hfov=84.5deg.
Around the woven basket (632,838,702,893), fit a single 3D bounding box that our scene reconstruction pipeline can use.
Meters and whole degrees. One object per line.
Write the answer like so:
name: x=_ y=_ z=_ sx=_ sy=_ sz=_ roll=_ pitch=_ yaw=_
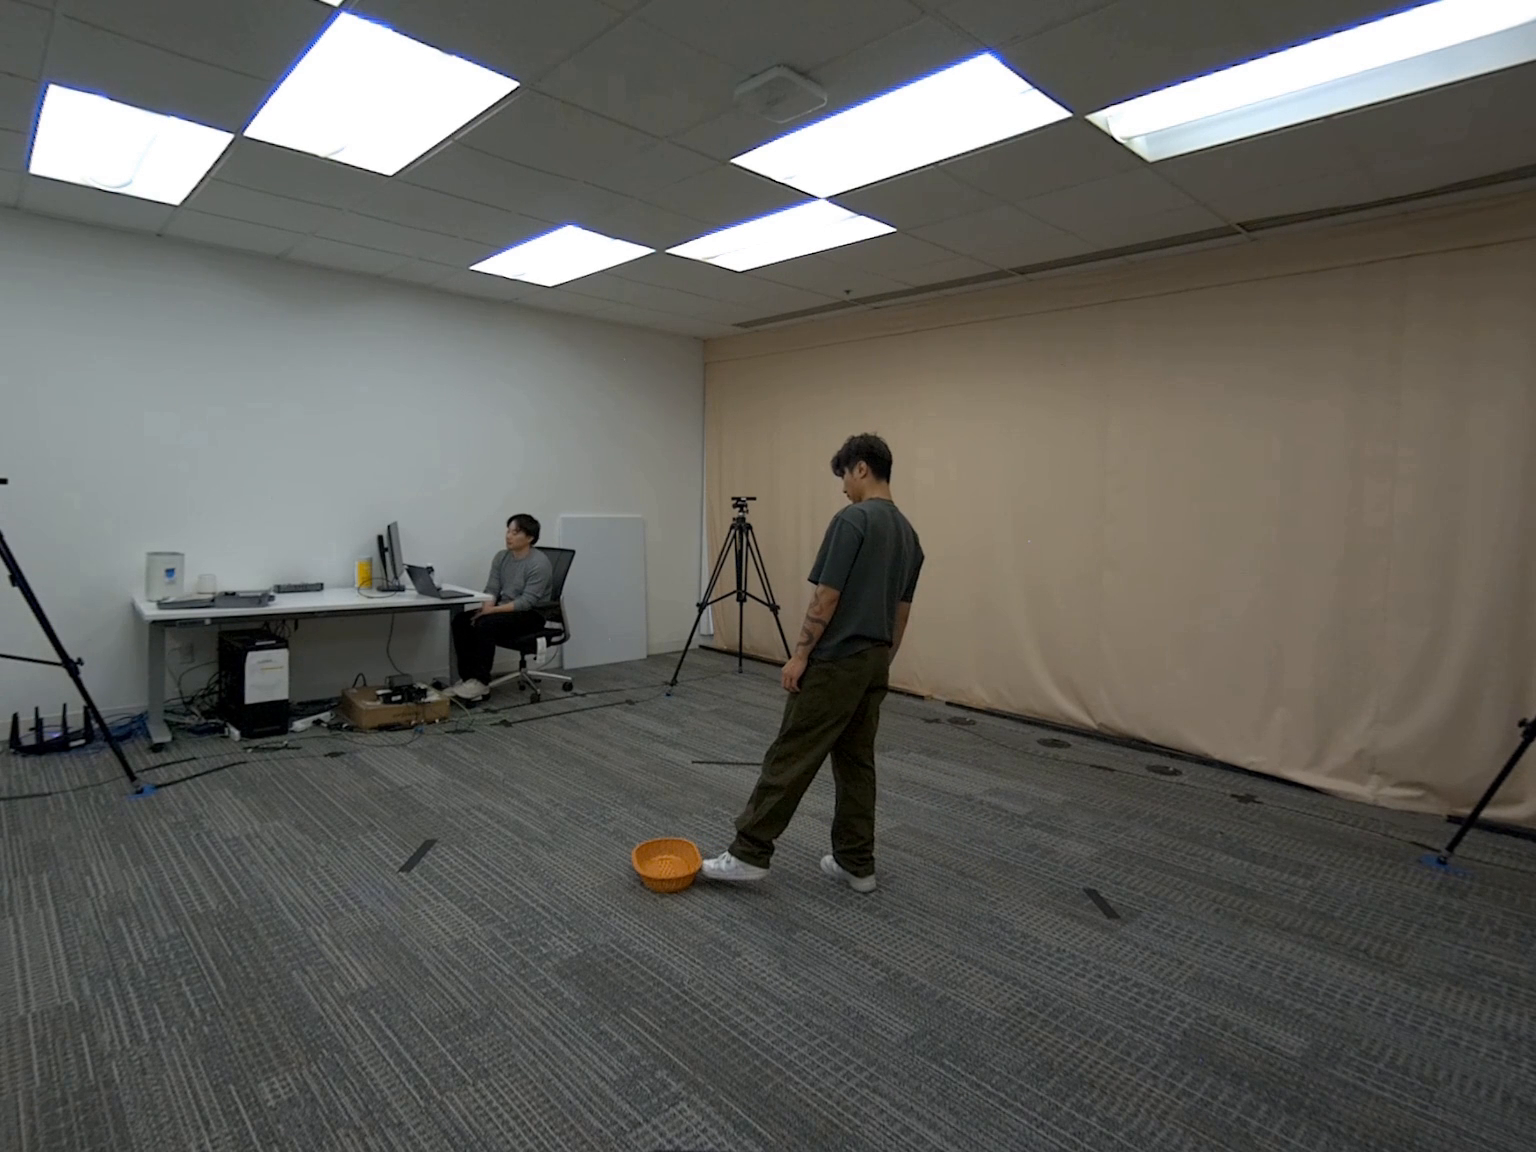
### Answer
woven basket: x=-0.373 y=1.058 z=3.093 sx=0.250 sy=0.073 sz=0.355 roll=-2 pitch=6 yaw=-14
